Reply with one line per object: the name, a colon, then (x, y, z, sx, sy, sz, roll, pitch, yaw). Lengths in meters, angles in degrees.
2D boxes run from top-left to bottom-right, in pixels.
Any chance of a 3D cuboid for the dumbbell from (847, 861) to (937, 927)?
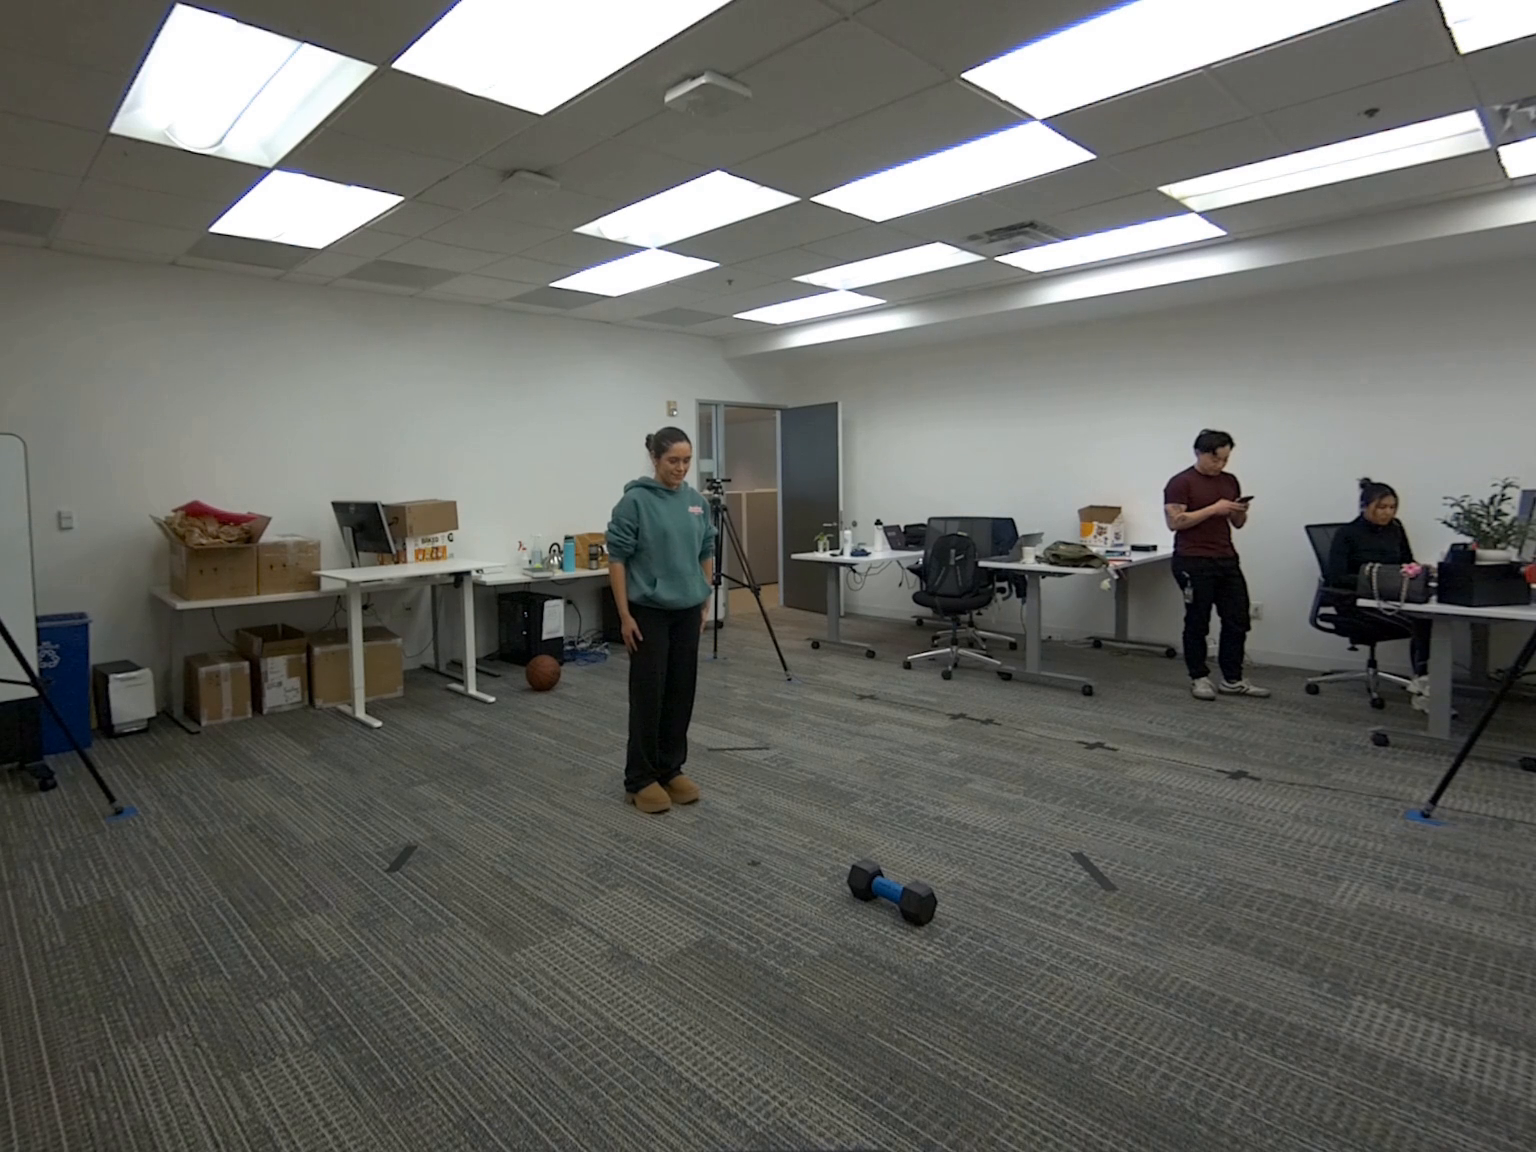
dumbbell: (0.405, 1.022, 2.762, 0.303, 0.124, 0.105, 6, -21, 48)
